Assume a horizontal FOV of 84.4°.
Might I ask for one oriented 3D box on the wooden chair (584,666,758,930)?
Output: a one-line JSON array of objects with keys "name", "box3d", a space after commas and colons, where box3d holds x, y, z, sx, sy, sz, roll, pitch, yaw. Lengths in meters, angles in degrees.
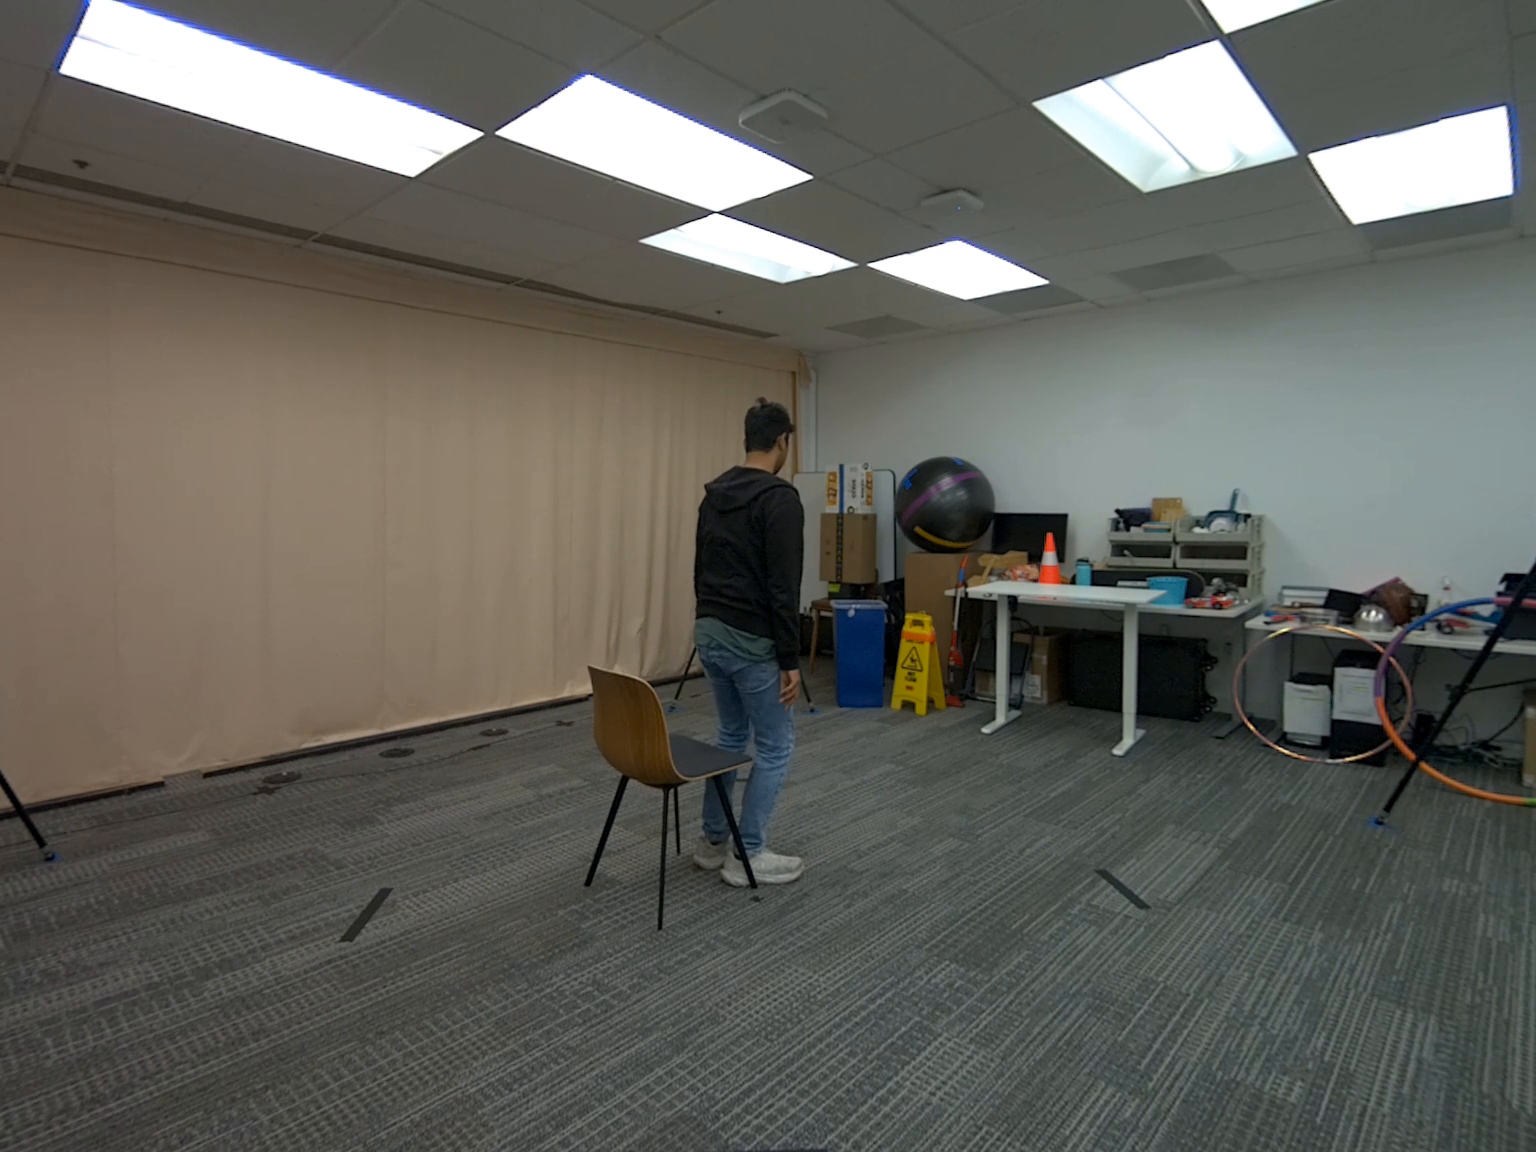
[{"name": "wooden chair", "box3d": [-0.342, 0.712, 3.051, 0.508, 0.874, 0.494, -9, 7, -43]}]
